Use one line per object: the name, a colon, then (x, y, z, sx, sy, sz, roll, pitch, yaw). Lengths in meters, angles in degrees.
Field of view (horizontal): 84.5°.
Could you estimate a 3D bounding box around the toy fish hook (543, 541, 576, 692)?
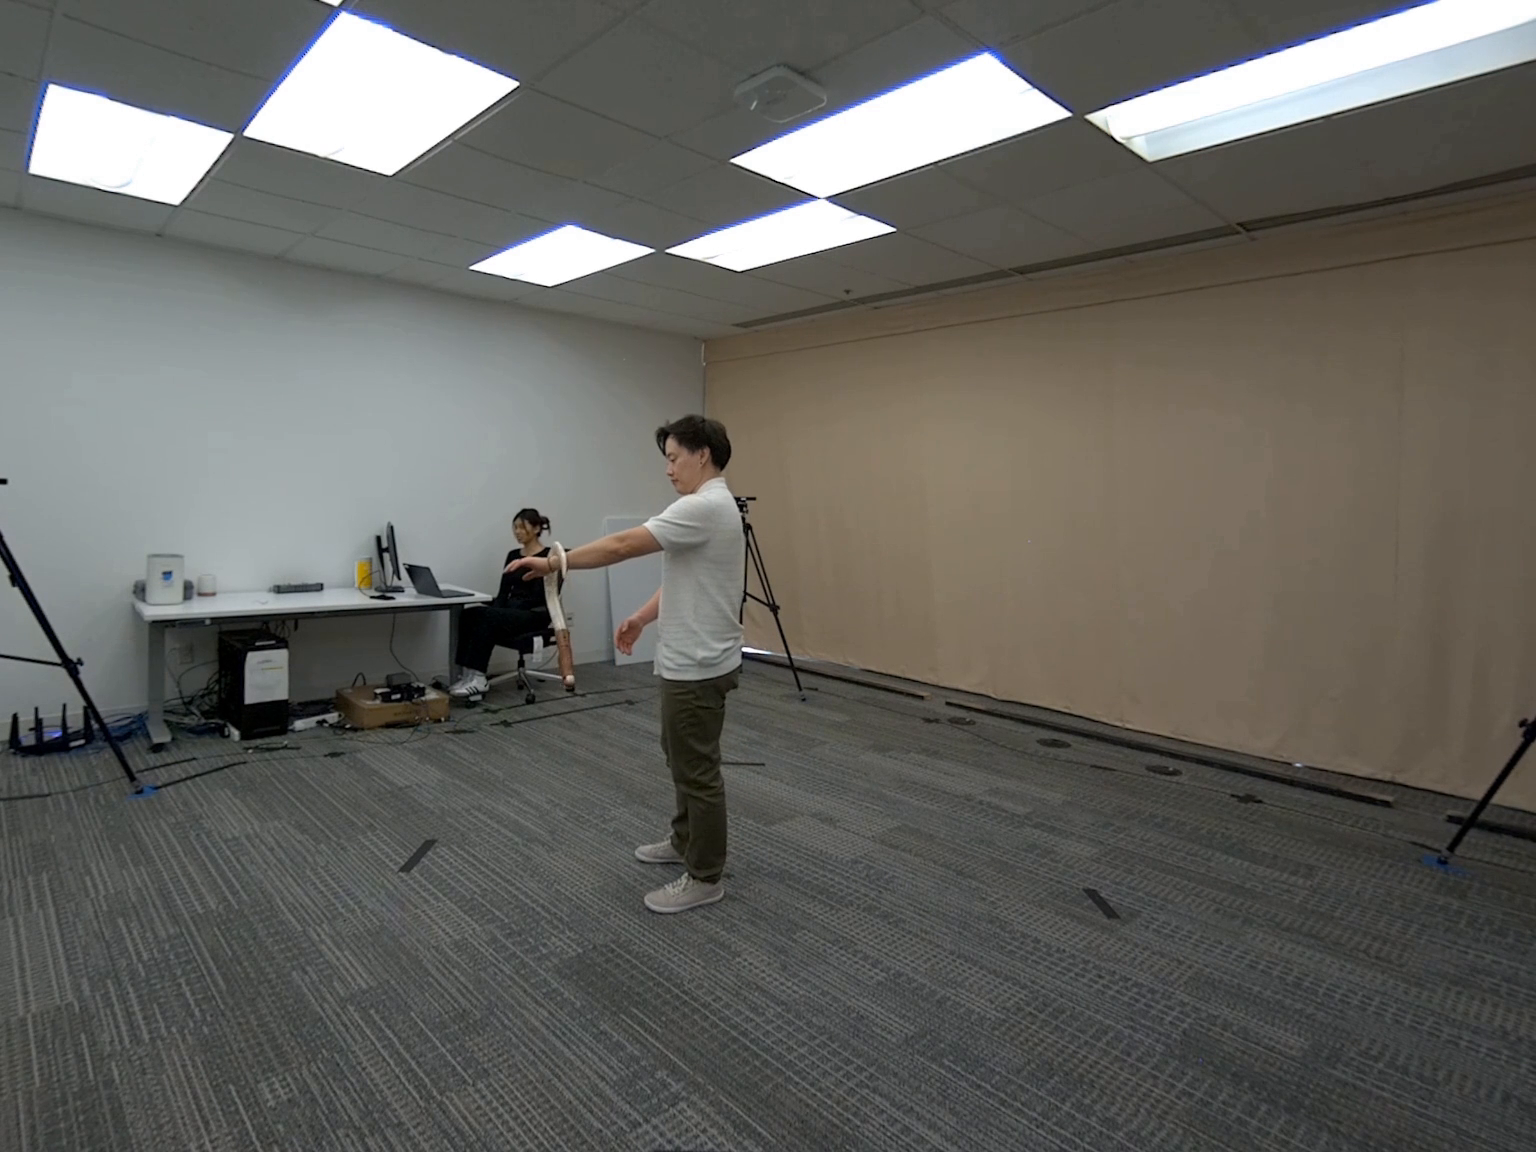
toy fish hook: (-0.641, 0.109, 2.621, 0.047, 0.222, 0.520, 2, 47, -20)
